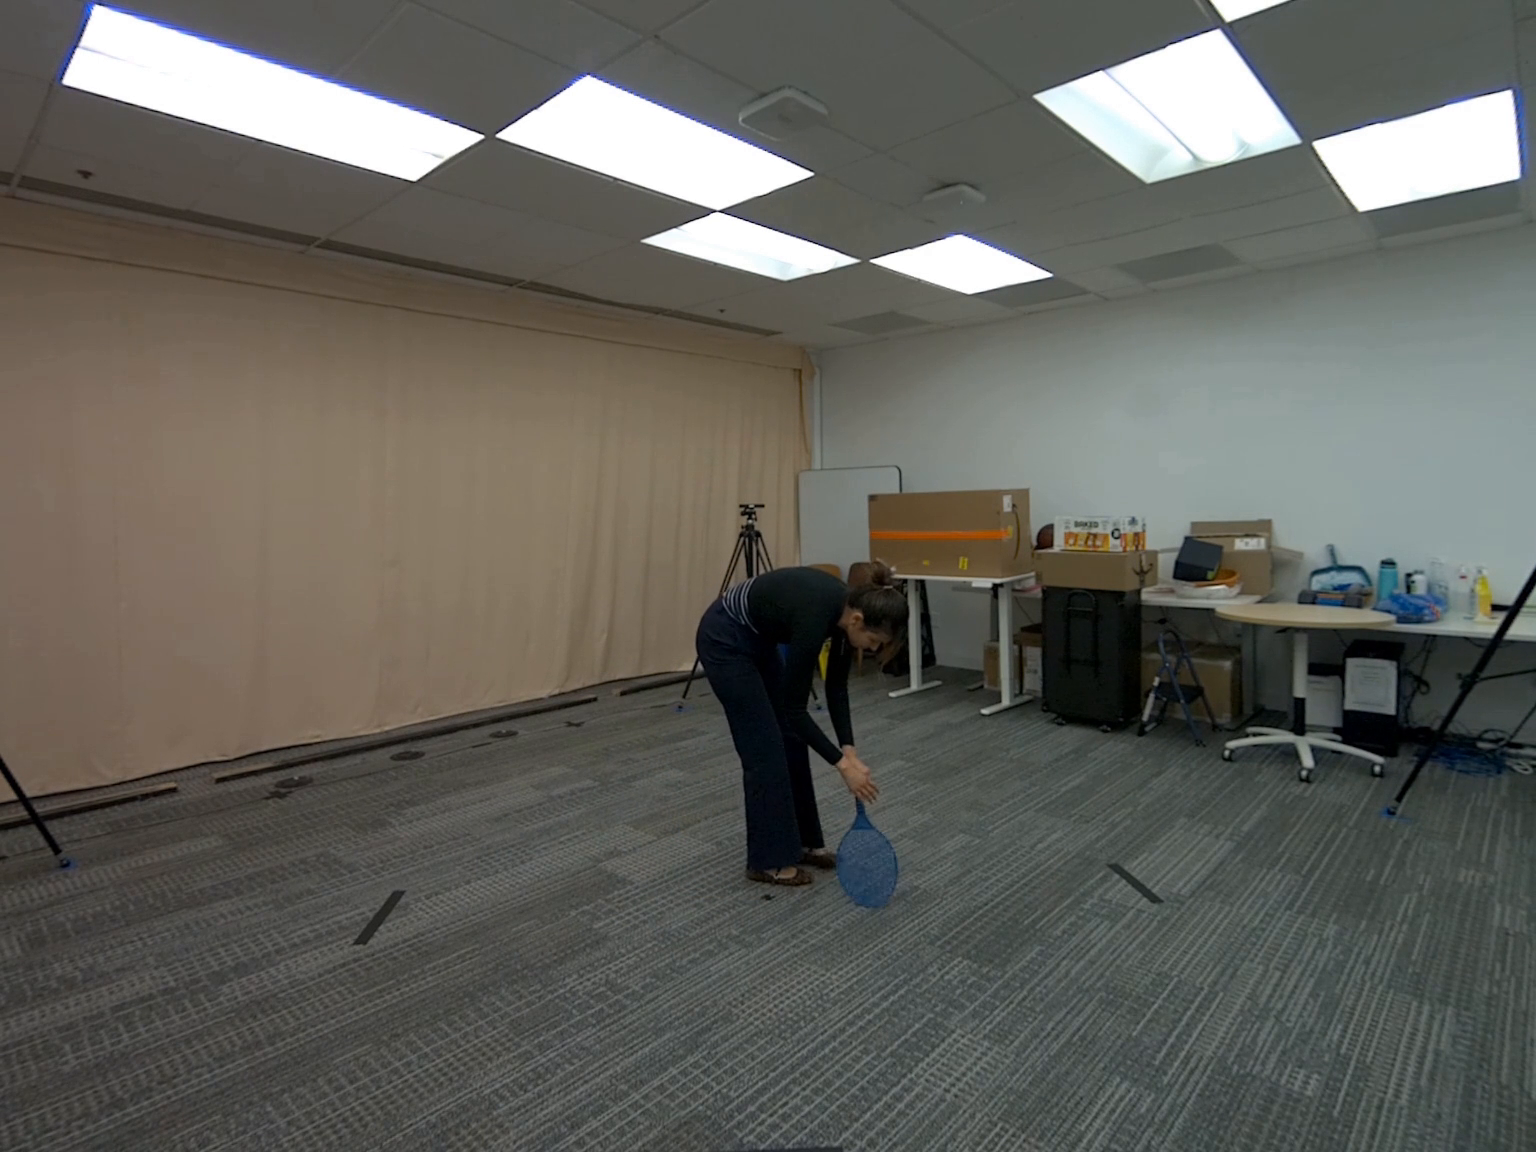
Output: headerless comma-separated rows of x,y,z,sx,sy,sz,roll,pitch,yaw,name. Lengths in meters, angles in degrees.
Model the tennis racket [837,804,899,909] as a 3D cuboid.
0.339,0.923,2.941,0.216,0.437,0.031,-7,-12,10,tennis racket
